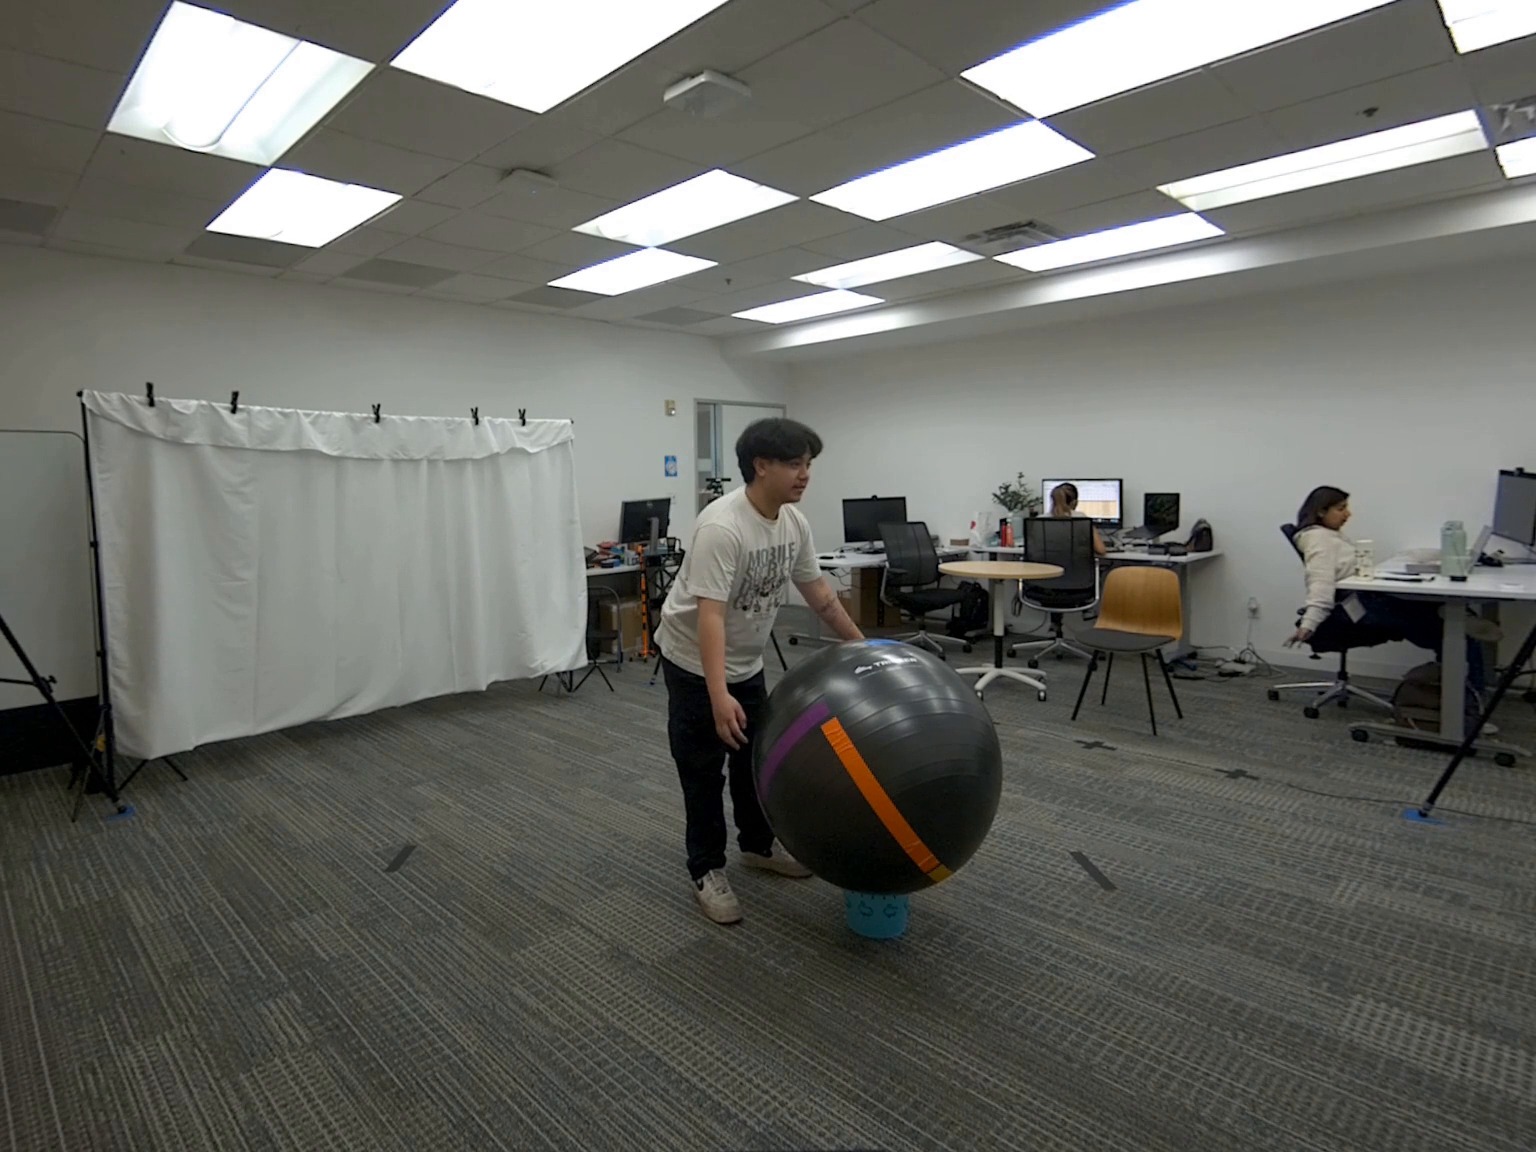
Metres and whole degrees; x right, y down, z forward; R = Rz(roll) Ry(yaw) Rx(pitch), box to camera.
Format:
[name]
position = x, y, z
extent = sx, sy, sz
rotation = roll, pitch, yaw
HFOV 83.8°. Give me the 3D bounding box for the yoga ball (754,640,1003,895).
[yoga ball]
position = 0.339, 0.581, 2.631
extent = 0.757, 0.755, 0.762
rotation = -1, 5, -2
